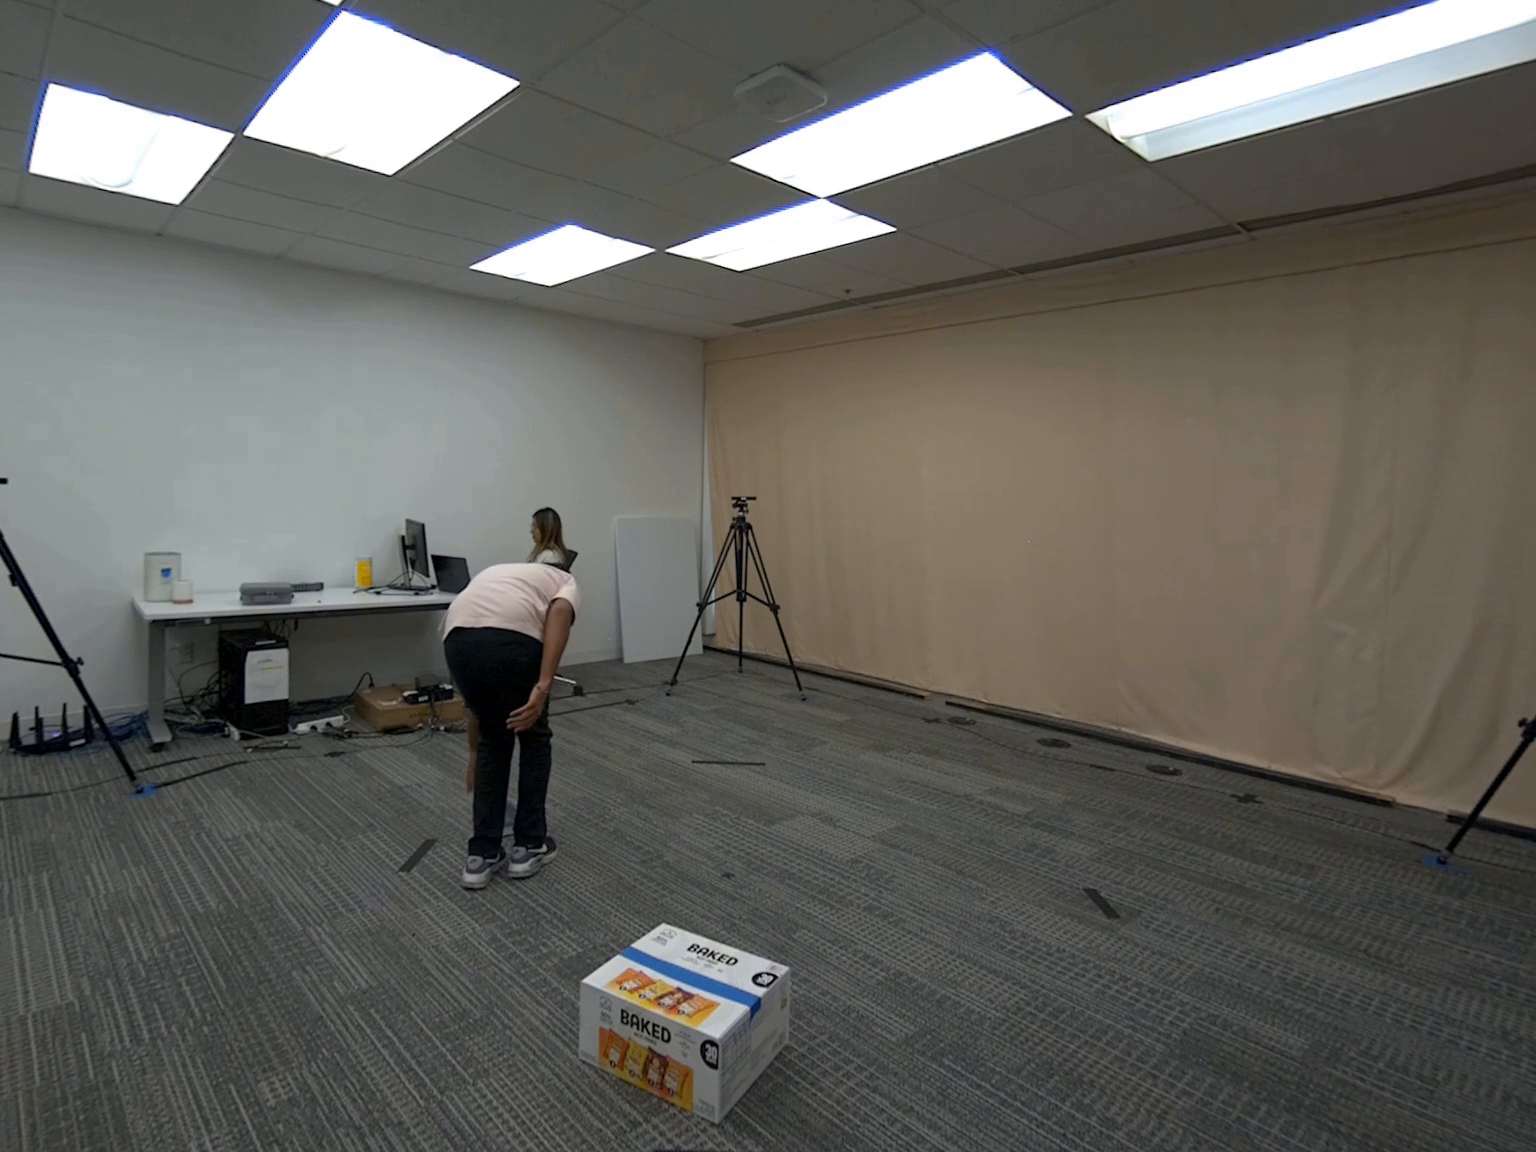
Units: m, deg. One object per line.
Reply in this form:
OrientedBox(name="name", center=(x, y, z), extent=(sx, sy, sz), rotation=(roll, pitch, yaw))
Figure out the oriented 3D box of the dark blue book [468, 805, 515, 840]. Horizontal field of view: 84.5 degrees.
OrientedBox(name="dark blue book", center=(-1.124, 1.027, 3.524), extent=(0.160, 0.045, 0.251), rotation=(-3, 7, -38))
